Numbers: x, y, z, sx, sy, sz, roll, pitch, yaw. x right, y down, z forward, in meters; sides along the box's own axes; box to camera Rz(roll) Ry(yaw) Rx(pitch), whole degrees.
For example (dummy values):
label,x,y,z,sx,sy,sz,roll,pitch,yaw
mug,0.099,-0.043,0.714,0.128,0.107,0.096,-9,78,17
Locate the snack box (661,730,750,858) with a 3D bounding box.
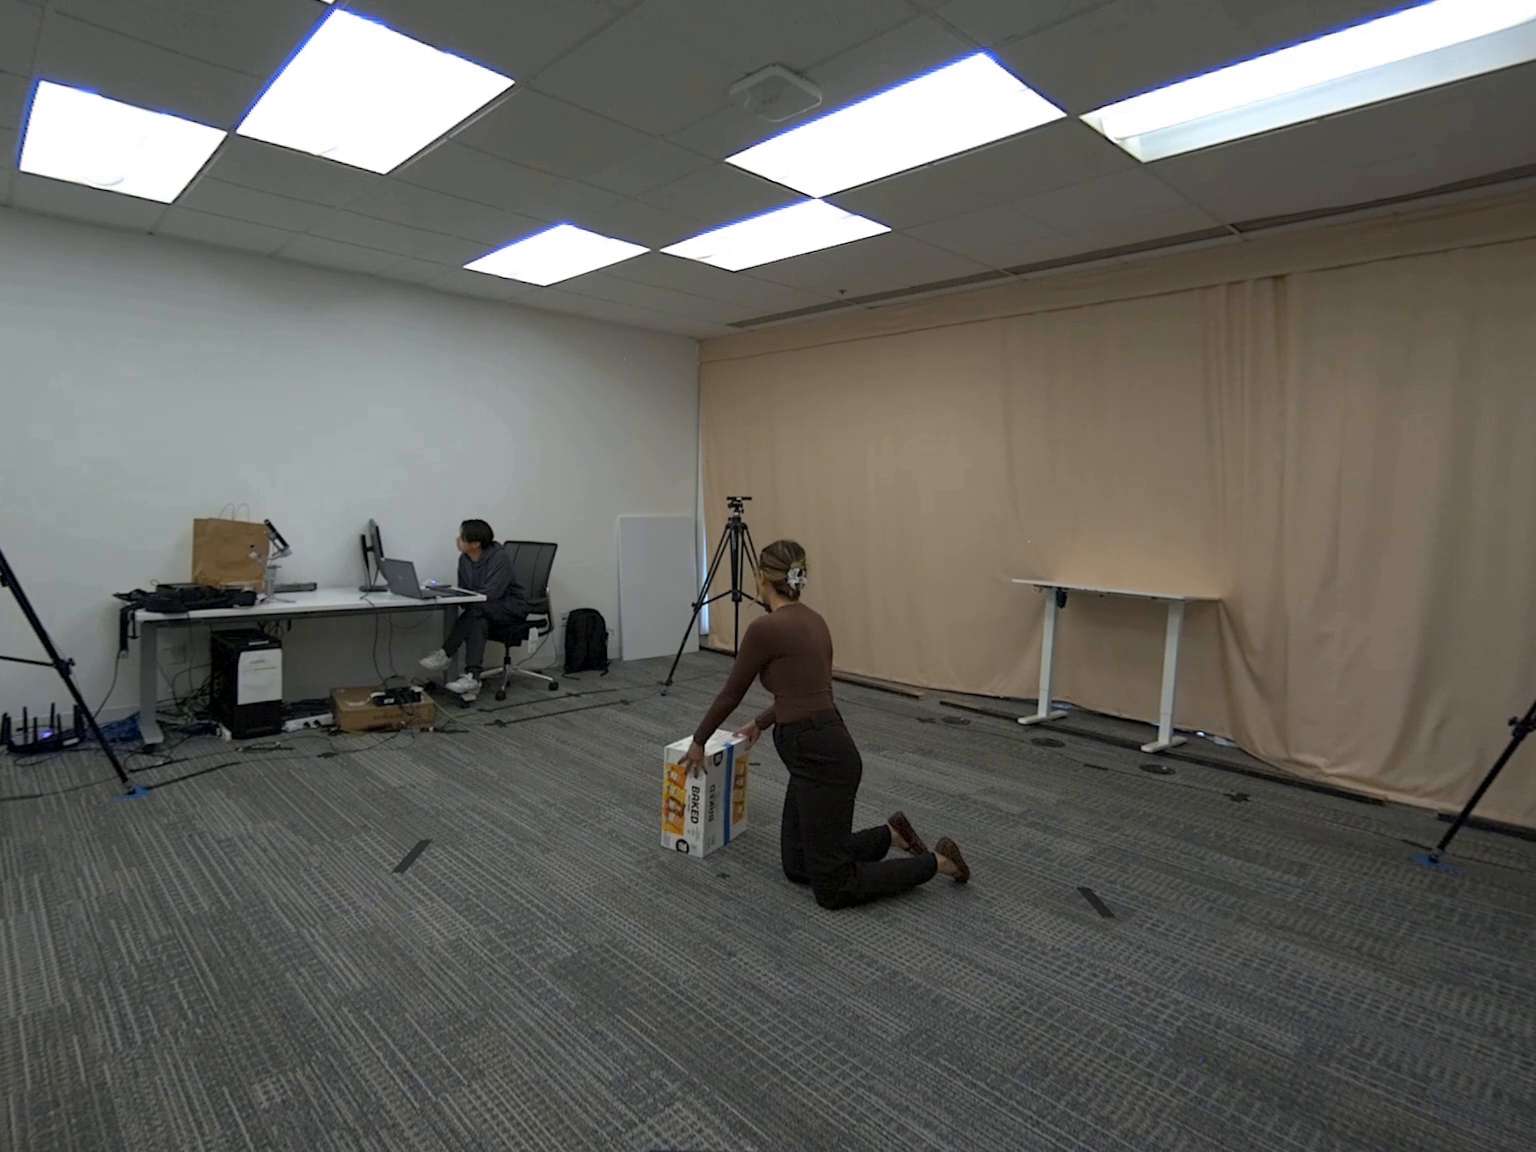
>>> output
label,x,y,z,sx,sy,sz,roll,pitch,yaw
snack box,-0.261,0.873,3.431,0.210,0.404,0.334,5,5,28
